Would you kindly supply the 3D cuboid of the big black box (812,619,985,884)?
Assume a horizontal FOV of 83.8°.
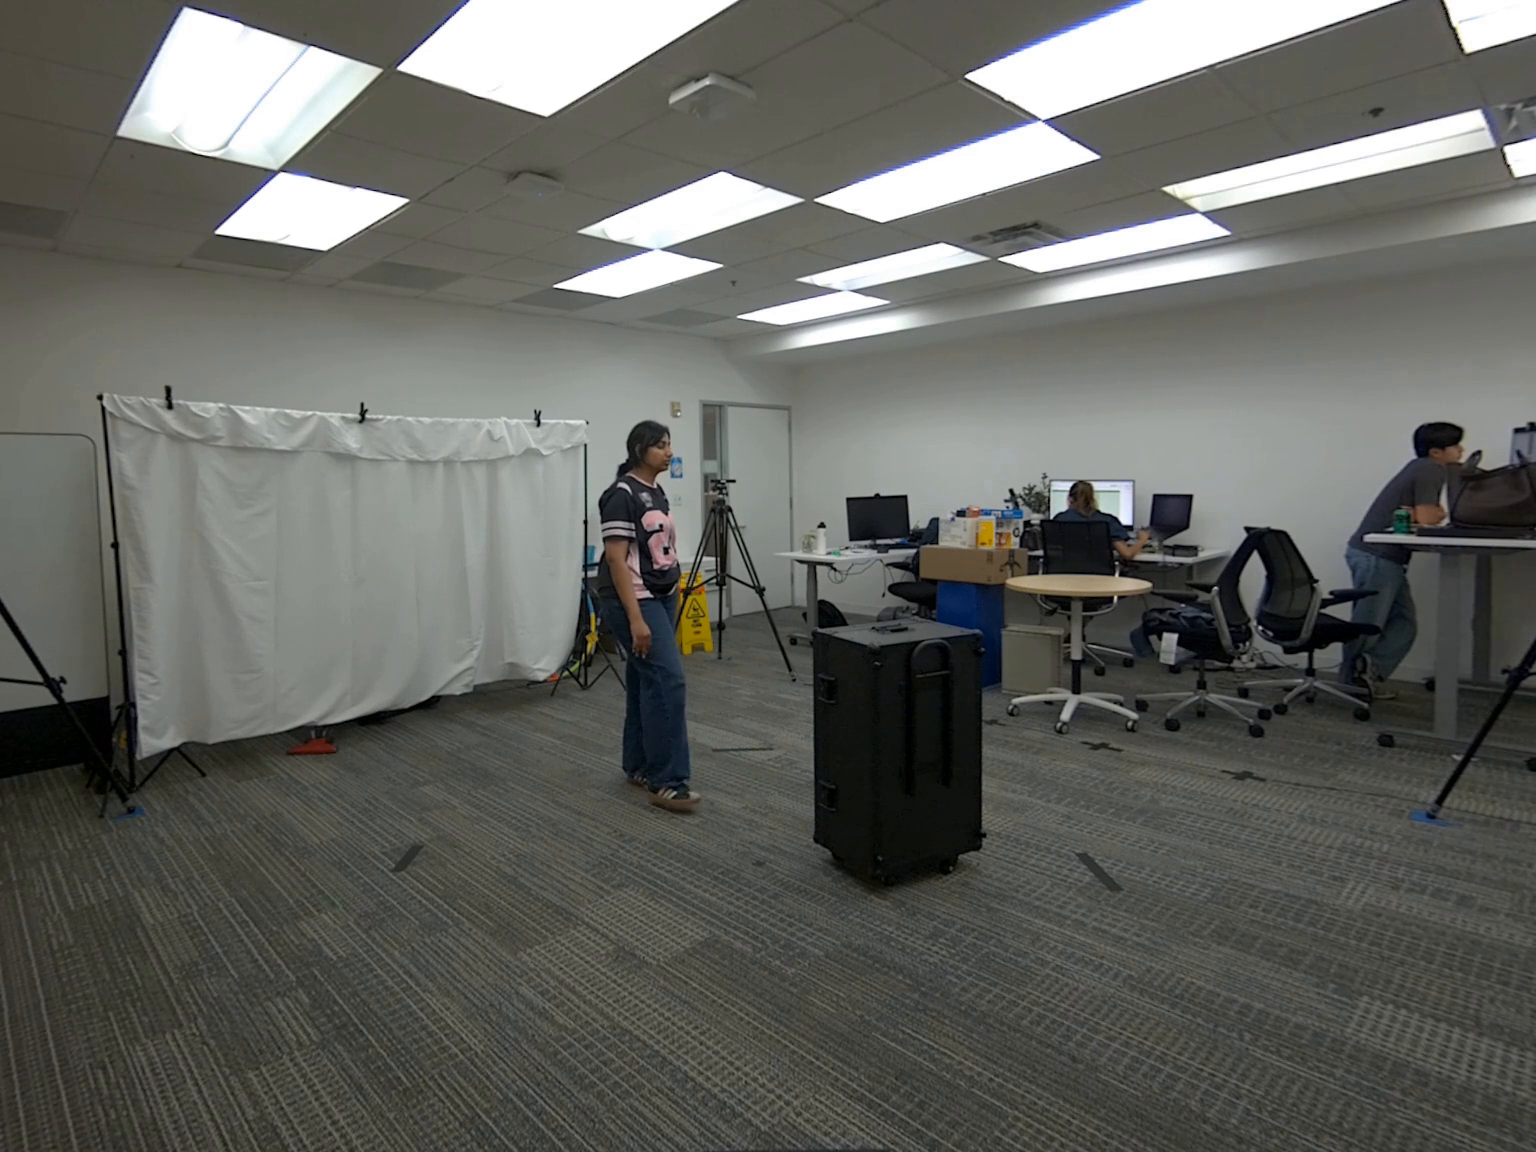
[{"bbox_3d":[0.471,0.620,3.058,0.511,0.865,0.396,-3,5,-29],"label":"big black box"}]
